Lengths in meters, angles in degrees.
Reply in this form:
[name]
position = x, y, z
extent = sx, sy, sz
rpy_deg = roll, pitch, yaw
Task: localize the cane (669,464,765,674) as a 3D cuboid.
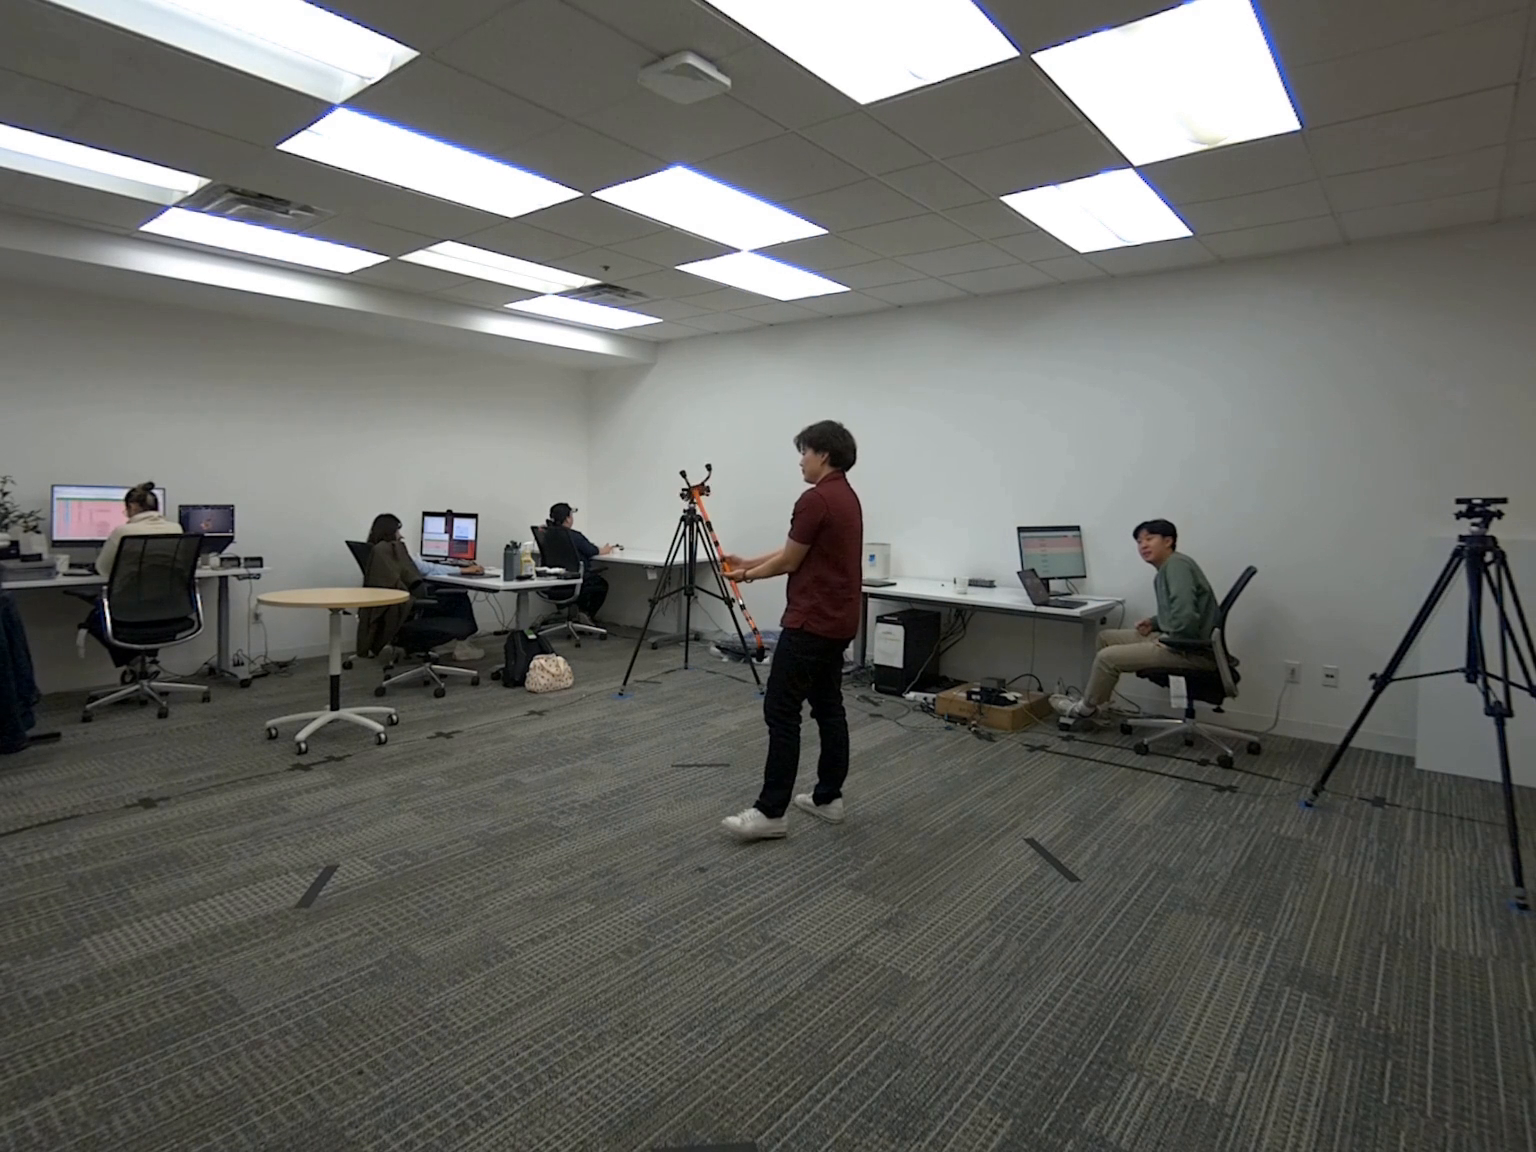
[cane]
position = -0.191, -0.069, 3.726
extent = 0.150, 0.938, 0.202
rpy_deg = -16, -29, -14
